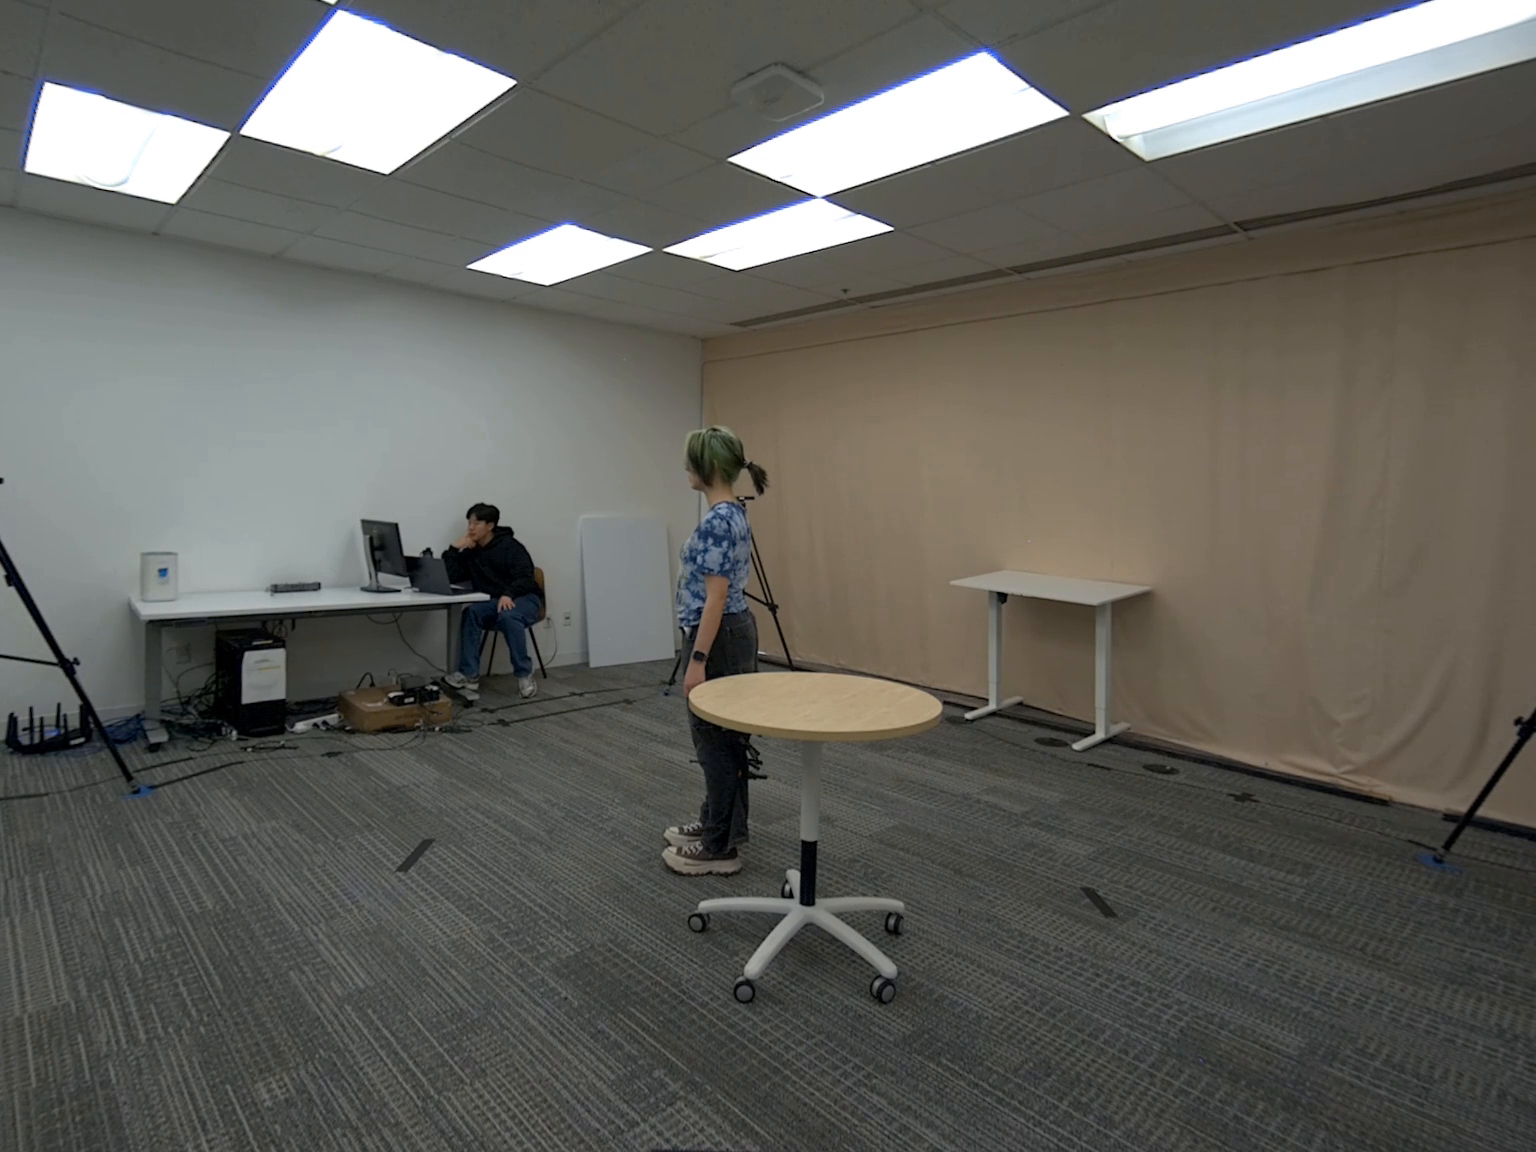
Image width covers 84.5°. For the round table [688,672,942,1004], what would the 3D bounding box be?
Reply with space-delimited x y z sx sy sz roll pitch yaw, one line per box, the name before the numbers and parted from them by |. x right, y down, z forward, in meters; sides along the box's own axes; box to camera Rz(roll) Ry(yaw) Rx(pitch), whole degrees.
round table | 0.121 0.767 2.597 0.763 0.792 0.767 2 4 -1
